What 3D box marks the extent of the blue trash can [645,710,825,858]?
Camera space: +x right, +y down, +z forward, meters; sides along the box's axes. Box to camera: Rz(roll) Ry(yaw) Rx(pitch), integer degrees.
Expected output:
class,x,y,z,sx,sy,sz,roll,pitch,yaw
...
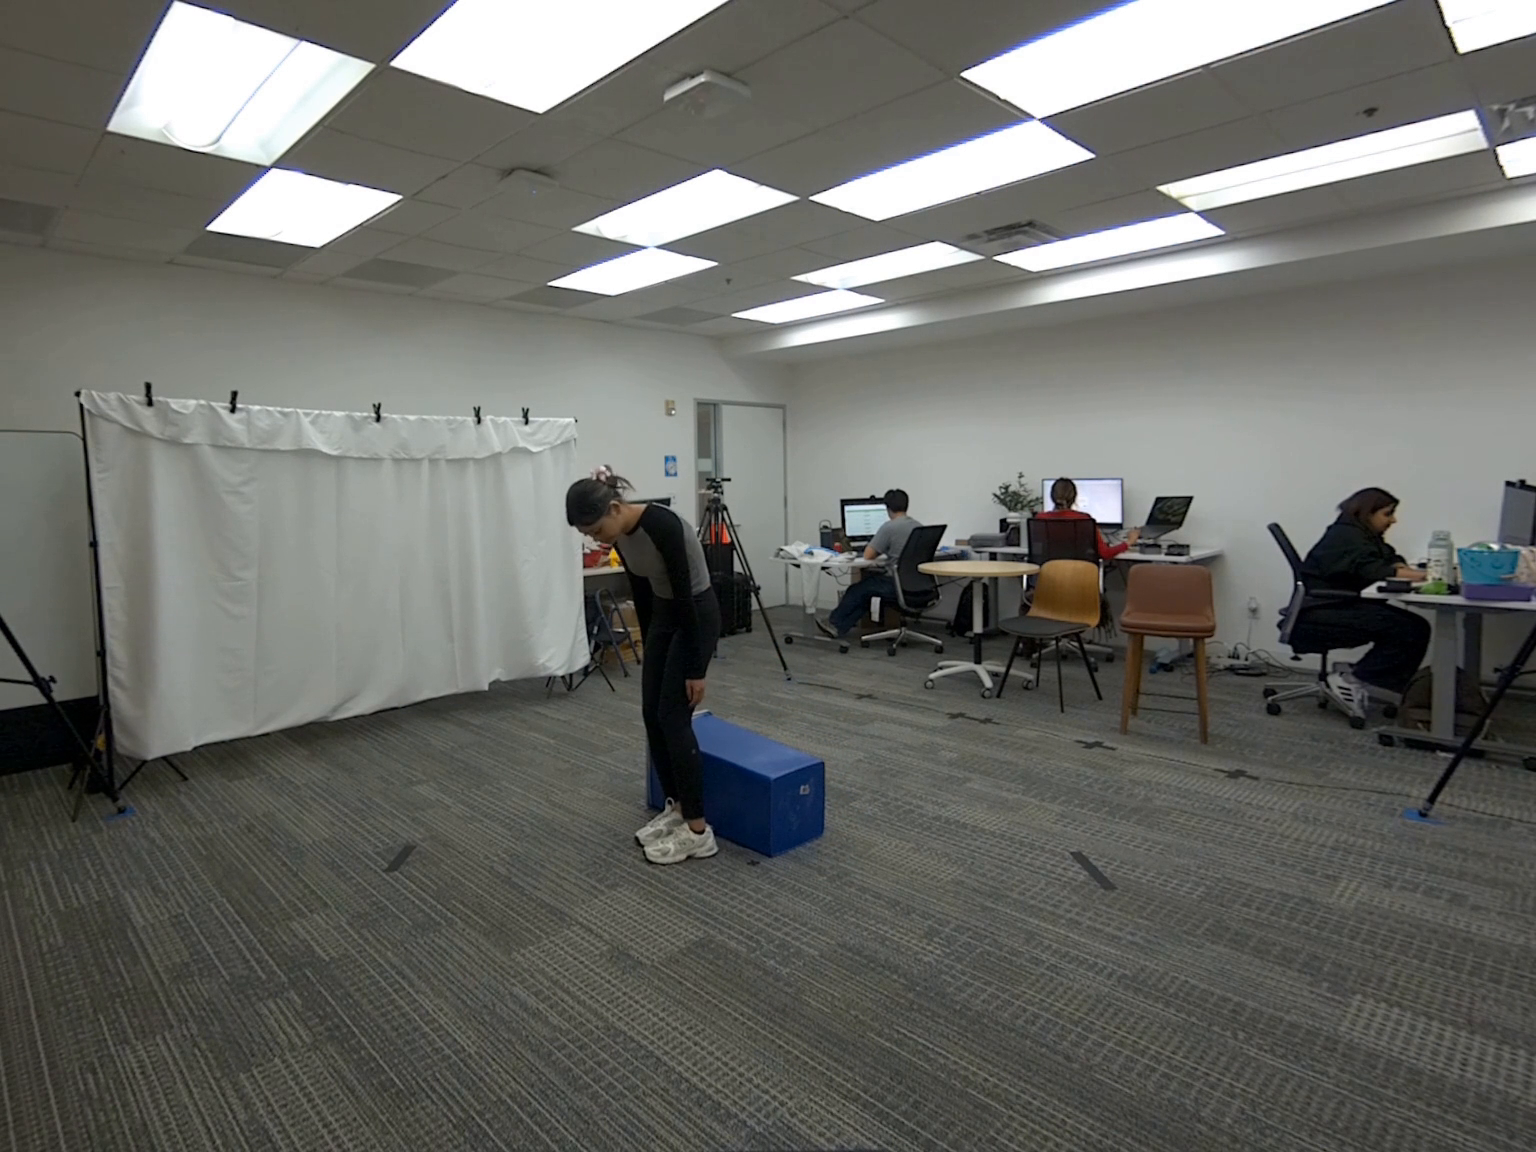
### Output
class,x,y,z,sx,sy,sz,roll,pitch,yaw
blue trash can,-0.132,0.828,3.488,0.368,0.372,0.736,-5,8,-45
